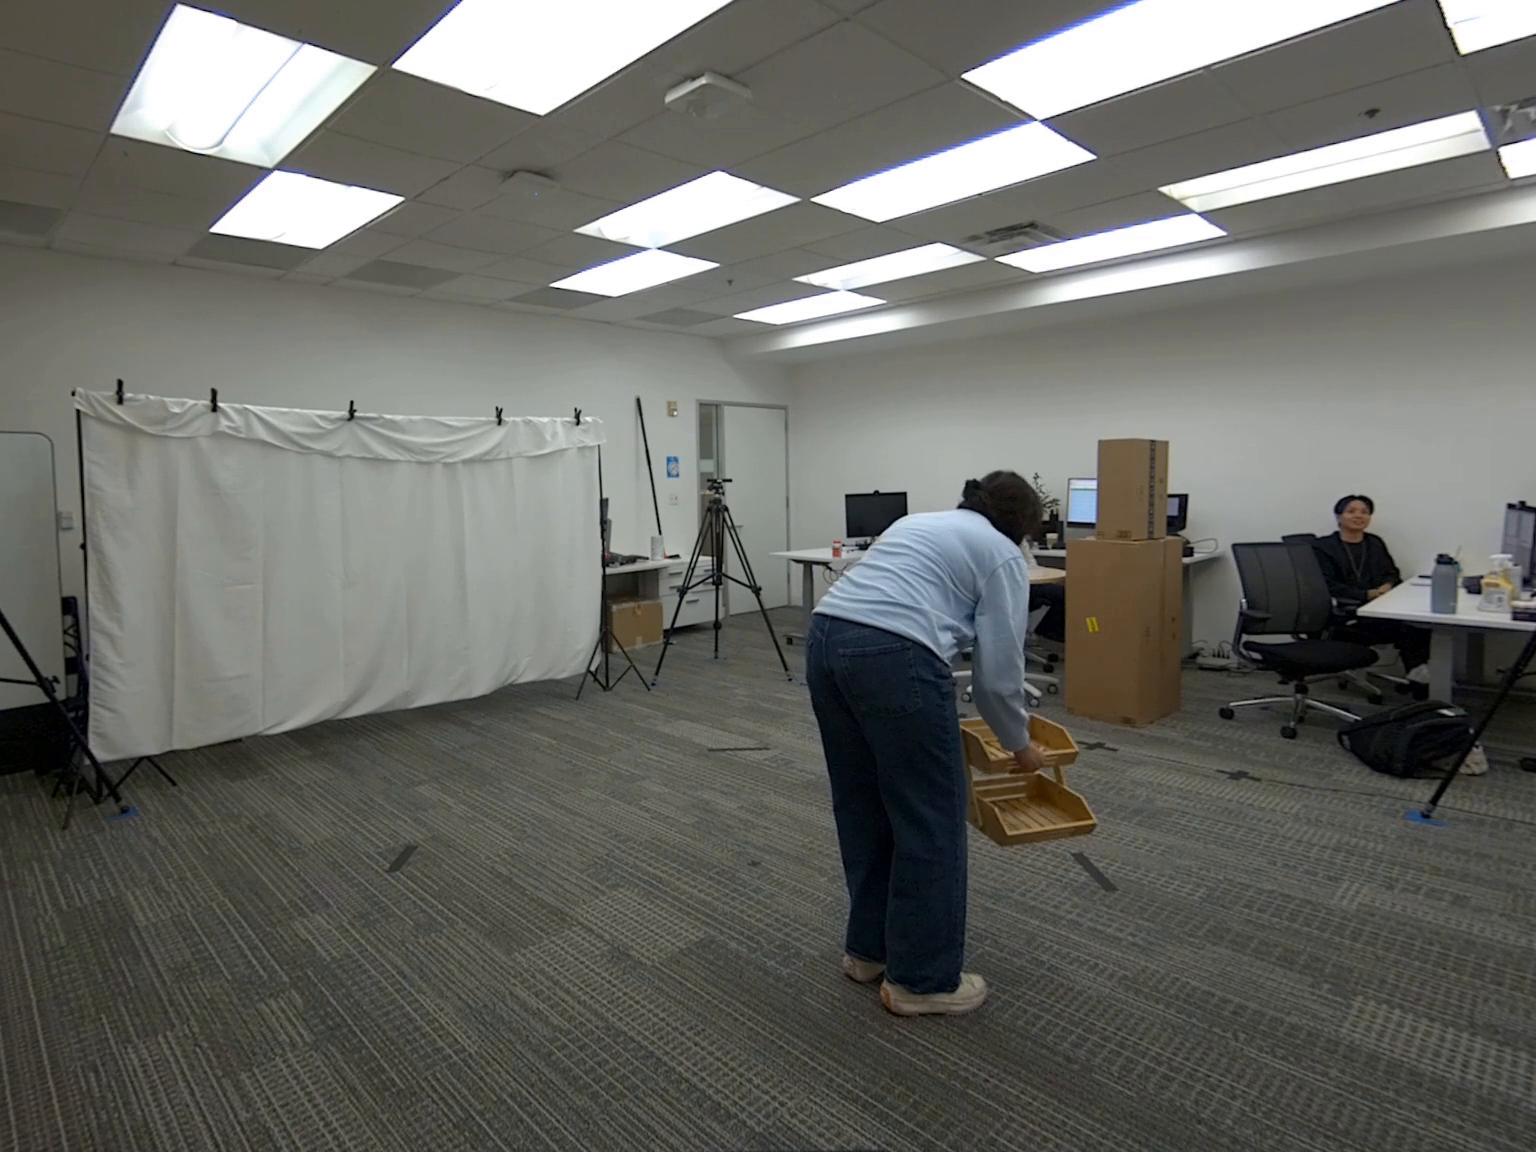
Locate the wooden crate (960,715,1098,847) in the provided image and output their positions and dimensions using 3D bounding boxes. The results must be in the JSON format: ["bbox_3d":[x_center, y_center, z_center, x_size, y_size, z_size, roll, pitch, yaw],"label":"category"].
[{"bbox_3d":[0.730,0.577,2.453,0.319,0.272,0.308,0,6,-17],"label":"wooden crate"}]
